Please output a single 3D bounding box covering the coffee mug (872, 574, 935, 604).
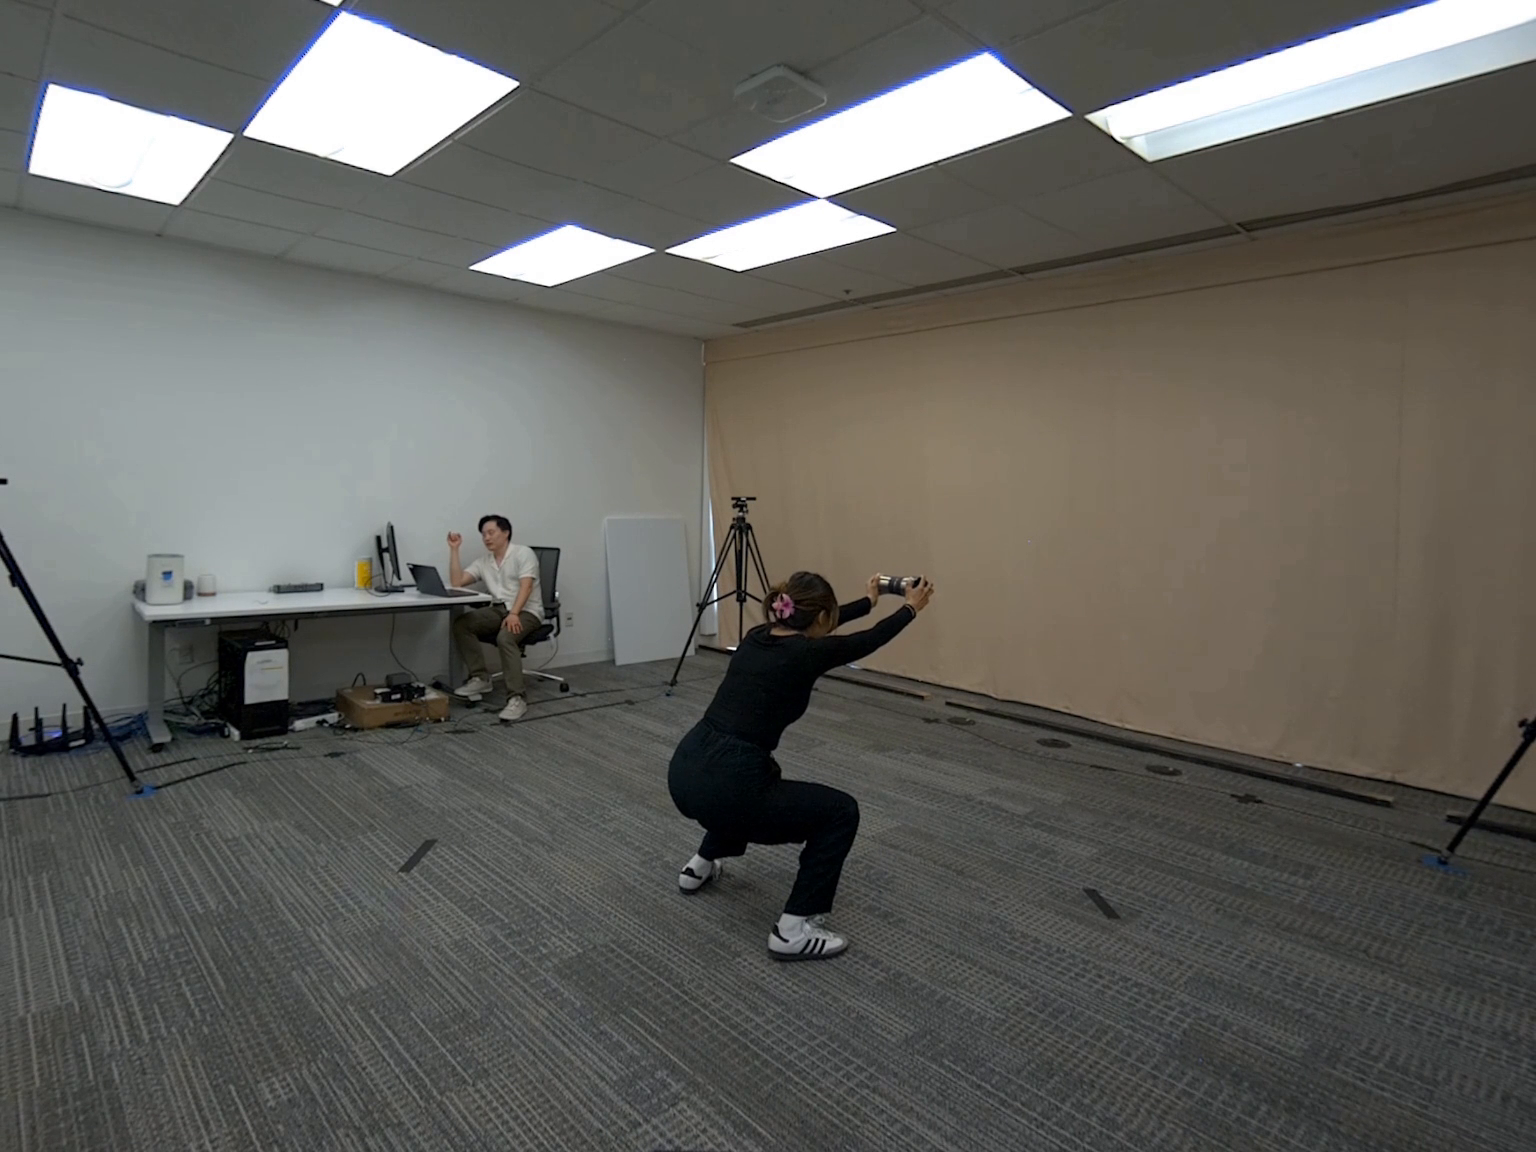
[{"bbox_3d":[0.515,0.048,3.252,0.119,0.088,0.208,7,-2,-41],"label":"coffee mug"}]
